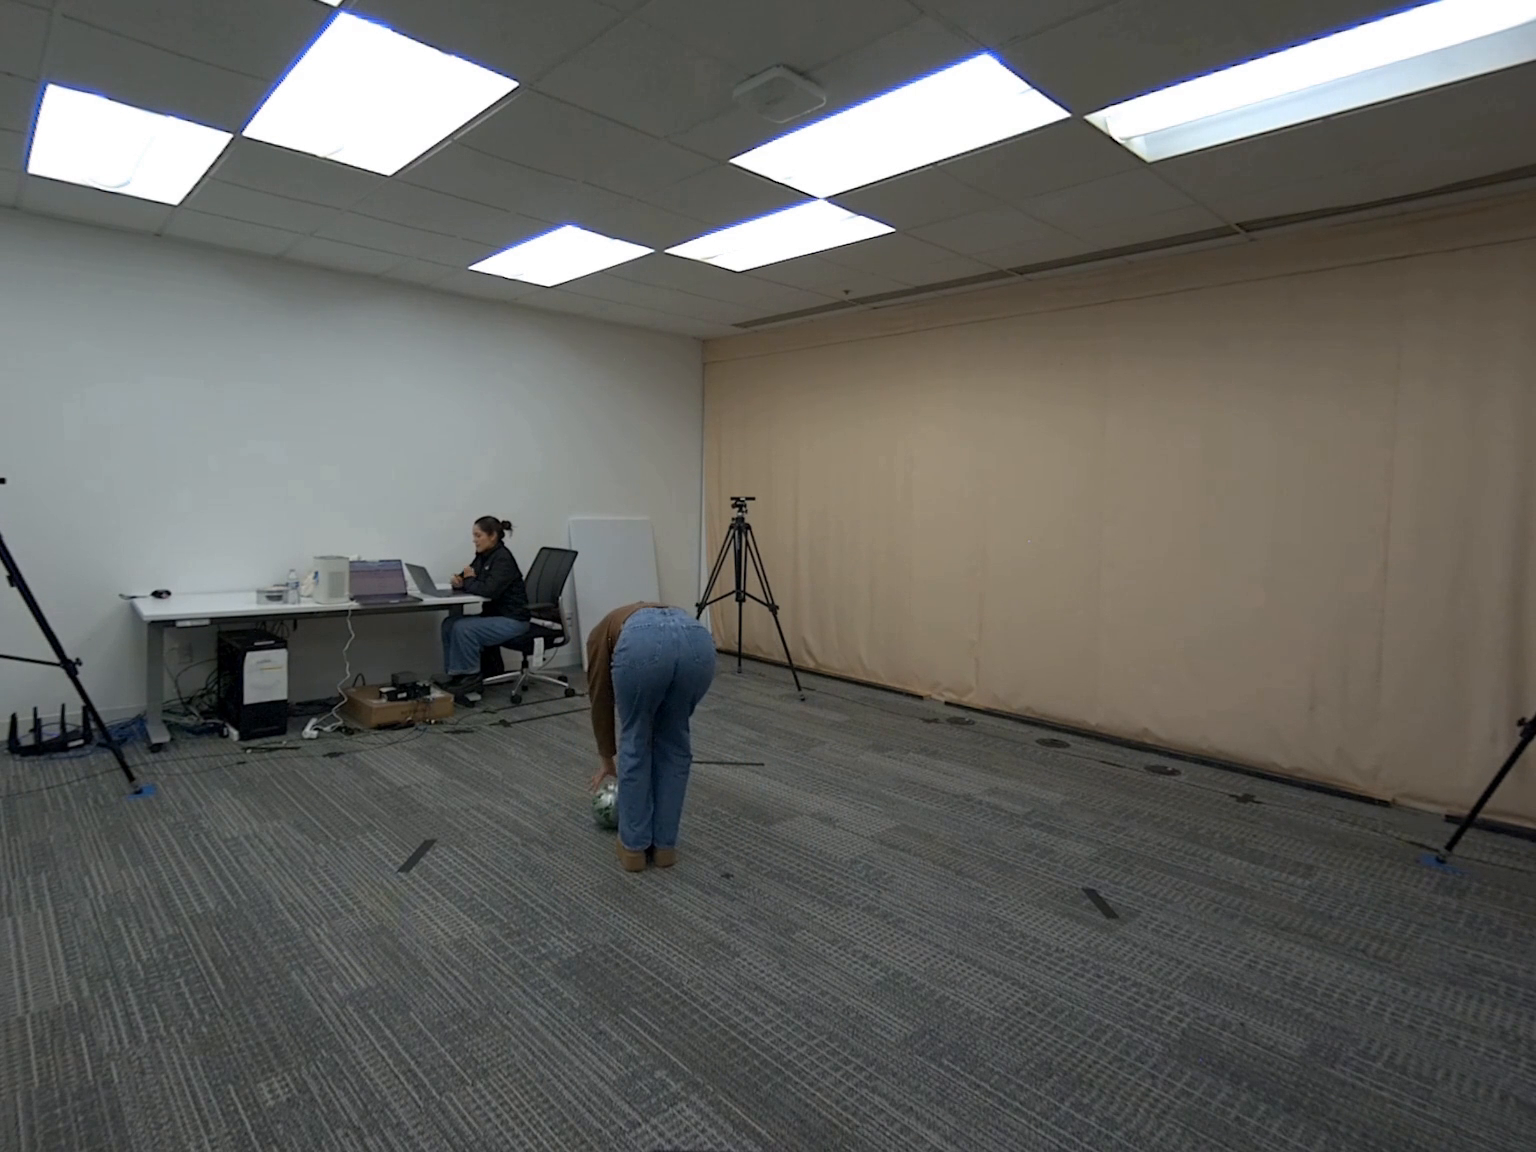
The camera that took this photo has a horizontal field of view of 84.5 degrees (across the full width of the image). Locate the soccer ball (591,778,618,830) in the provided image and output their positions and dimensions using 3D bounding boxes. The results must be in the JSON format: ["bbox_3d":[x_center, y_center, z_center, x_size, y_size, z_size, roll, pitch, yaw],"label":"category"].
[{"bbox_3d":[-0.659,0.962,3.541,0.187,0.187,0.188,1,4,-1],"label":"soccer ball"}]
